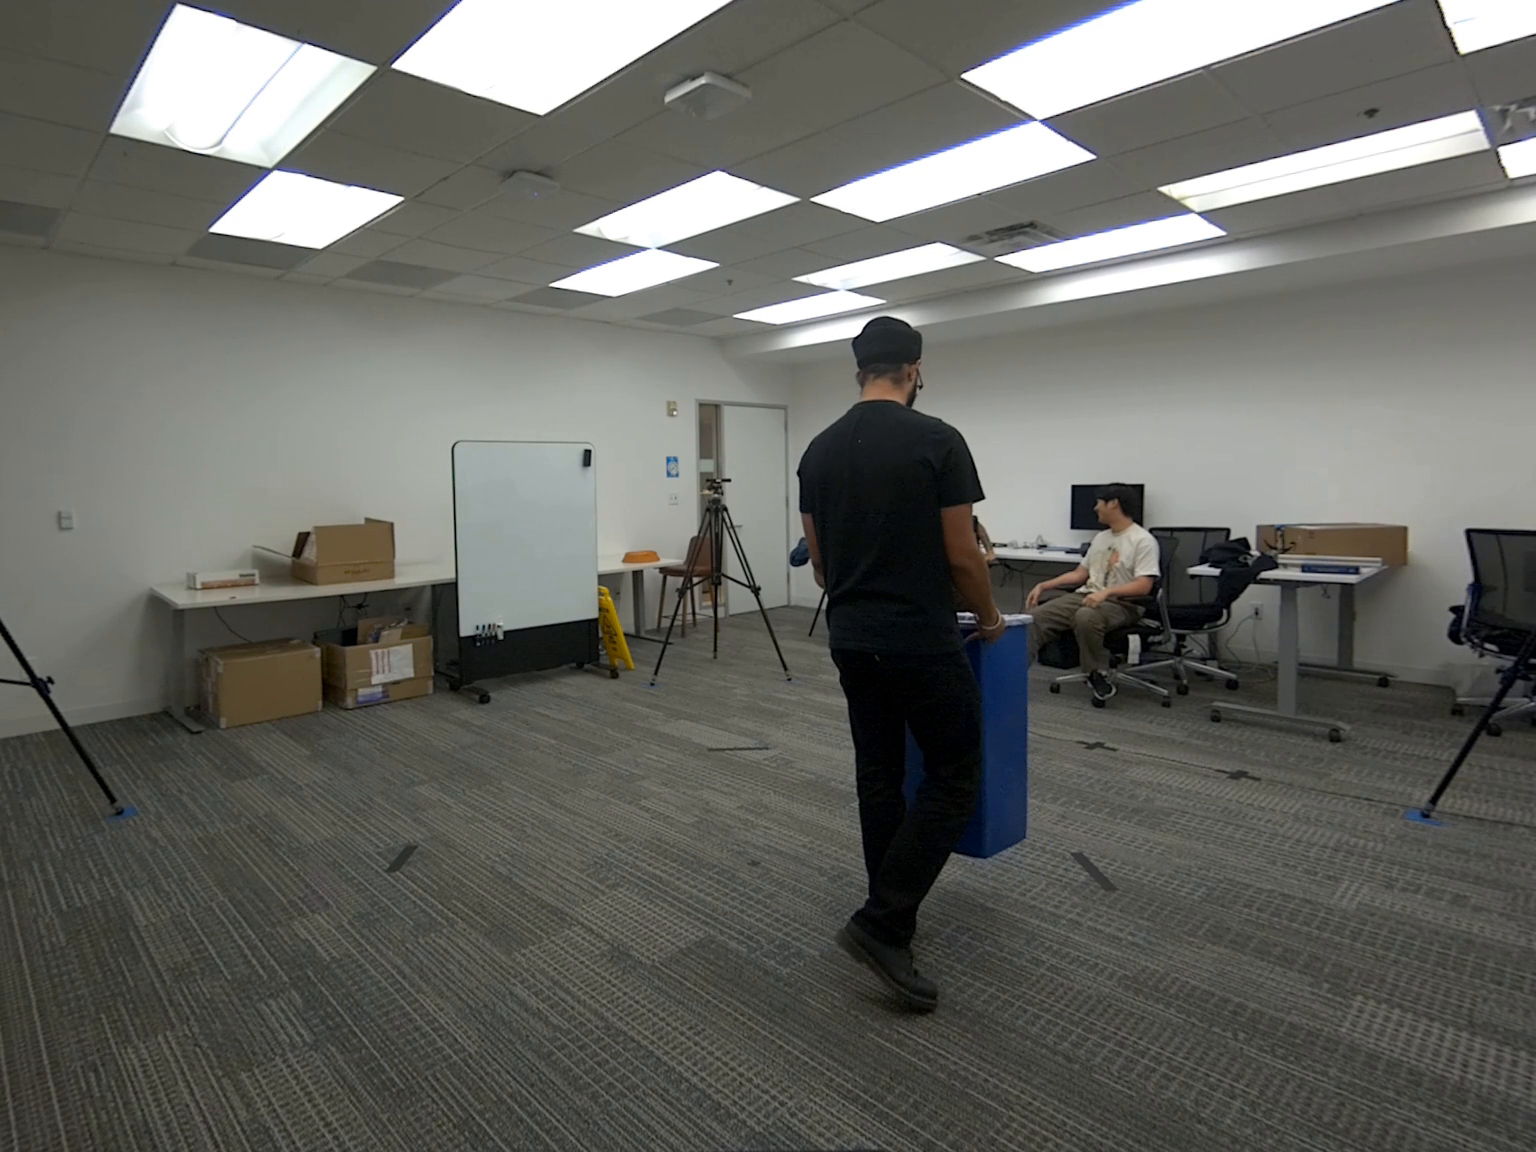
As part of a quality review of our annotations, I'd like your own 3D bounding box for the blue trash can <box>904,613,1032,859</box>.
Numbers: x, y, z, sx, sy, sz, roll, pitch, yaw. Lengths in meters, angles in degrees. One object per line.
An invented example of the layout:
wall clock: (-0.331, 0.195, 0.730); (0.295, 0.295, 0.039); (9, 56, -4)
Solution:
blue trash can: (0.628, 0.493, 2.765); (0.388, 0.716, 0.363); (-3, -4, 41)
